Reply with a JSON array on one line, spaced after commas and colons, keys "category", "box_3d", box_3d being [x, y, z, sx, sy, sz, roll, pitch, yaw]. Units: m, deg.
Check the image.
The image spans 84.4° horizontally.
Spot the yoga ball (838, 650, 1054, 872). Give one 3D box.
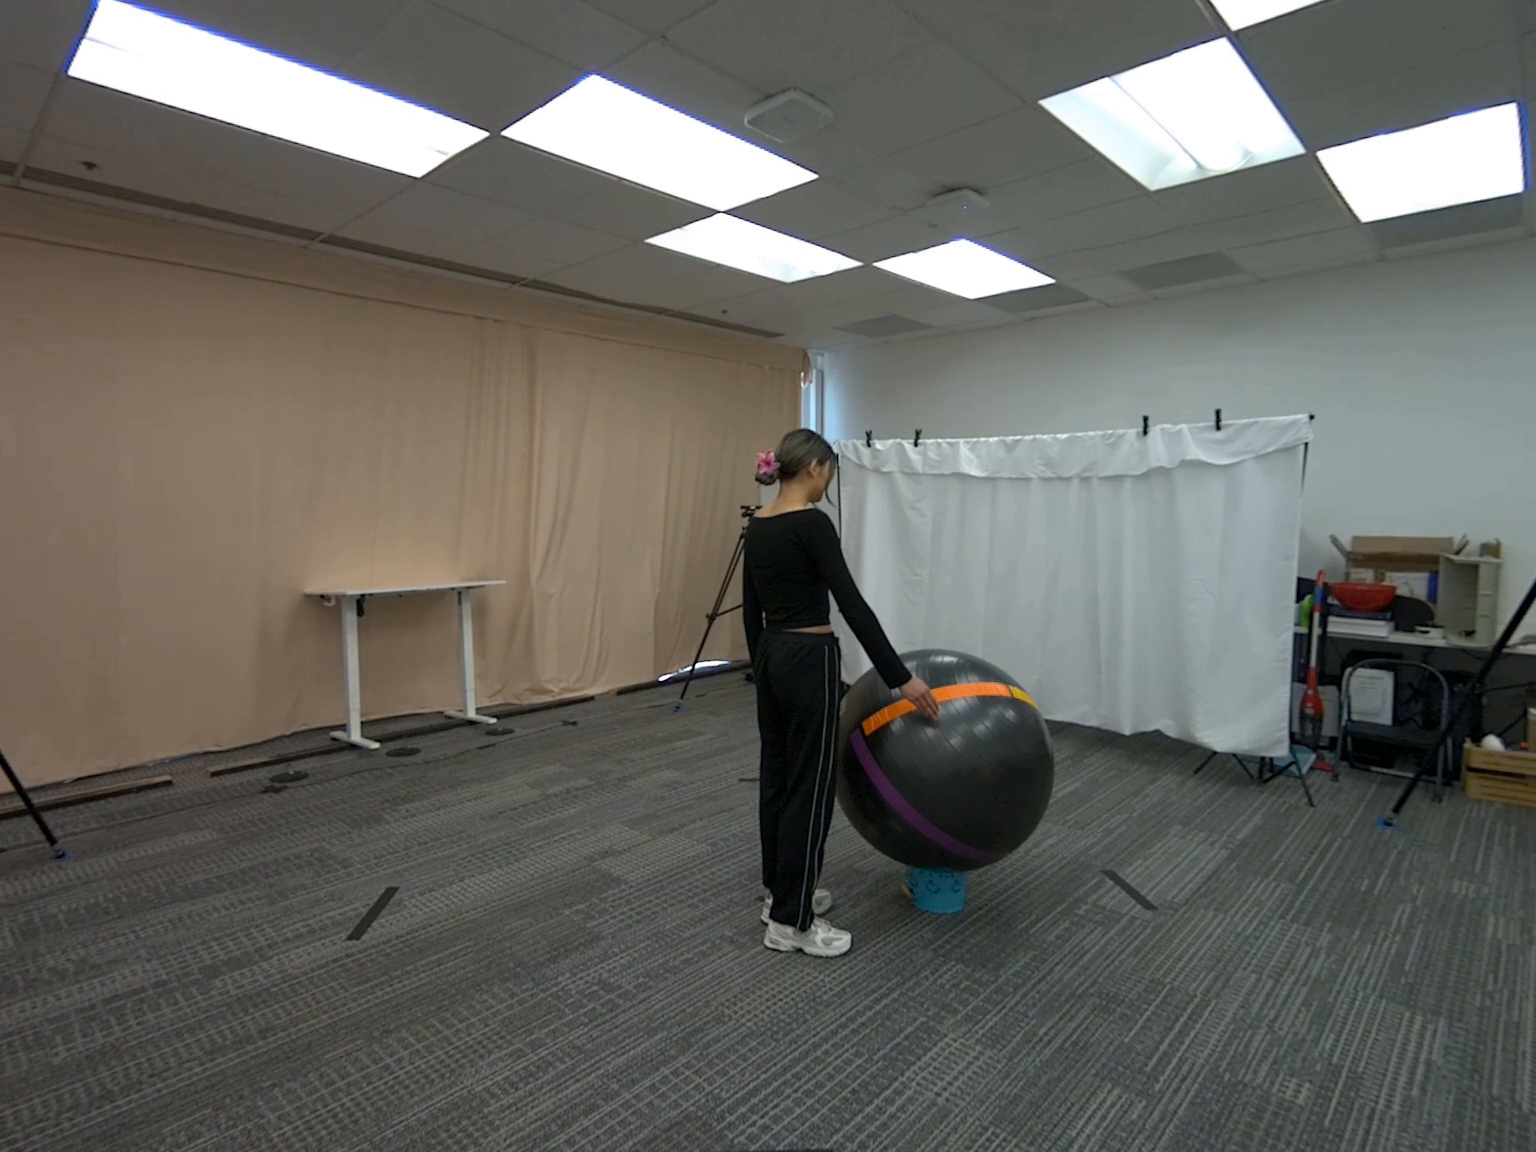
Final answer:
[{"category": "yoga ball", "box_3d": [0.606, 0.639, 2.939, 0.757, 0.756, 0.760, 0, 4, -2]}]
